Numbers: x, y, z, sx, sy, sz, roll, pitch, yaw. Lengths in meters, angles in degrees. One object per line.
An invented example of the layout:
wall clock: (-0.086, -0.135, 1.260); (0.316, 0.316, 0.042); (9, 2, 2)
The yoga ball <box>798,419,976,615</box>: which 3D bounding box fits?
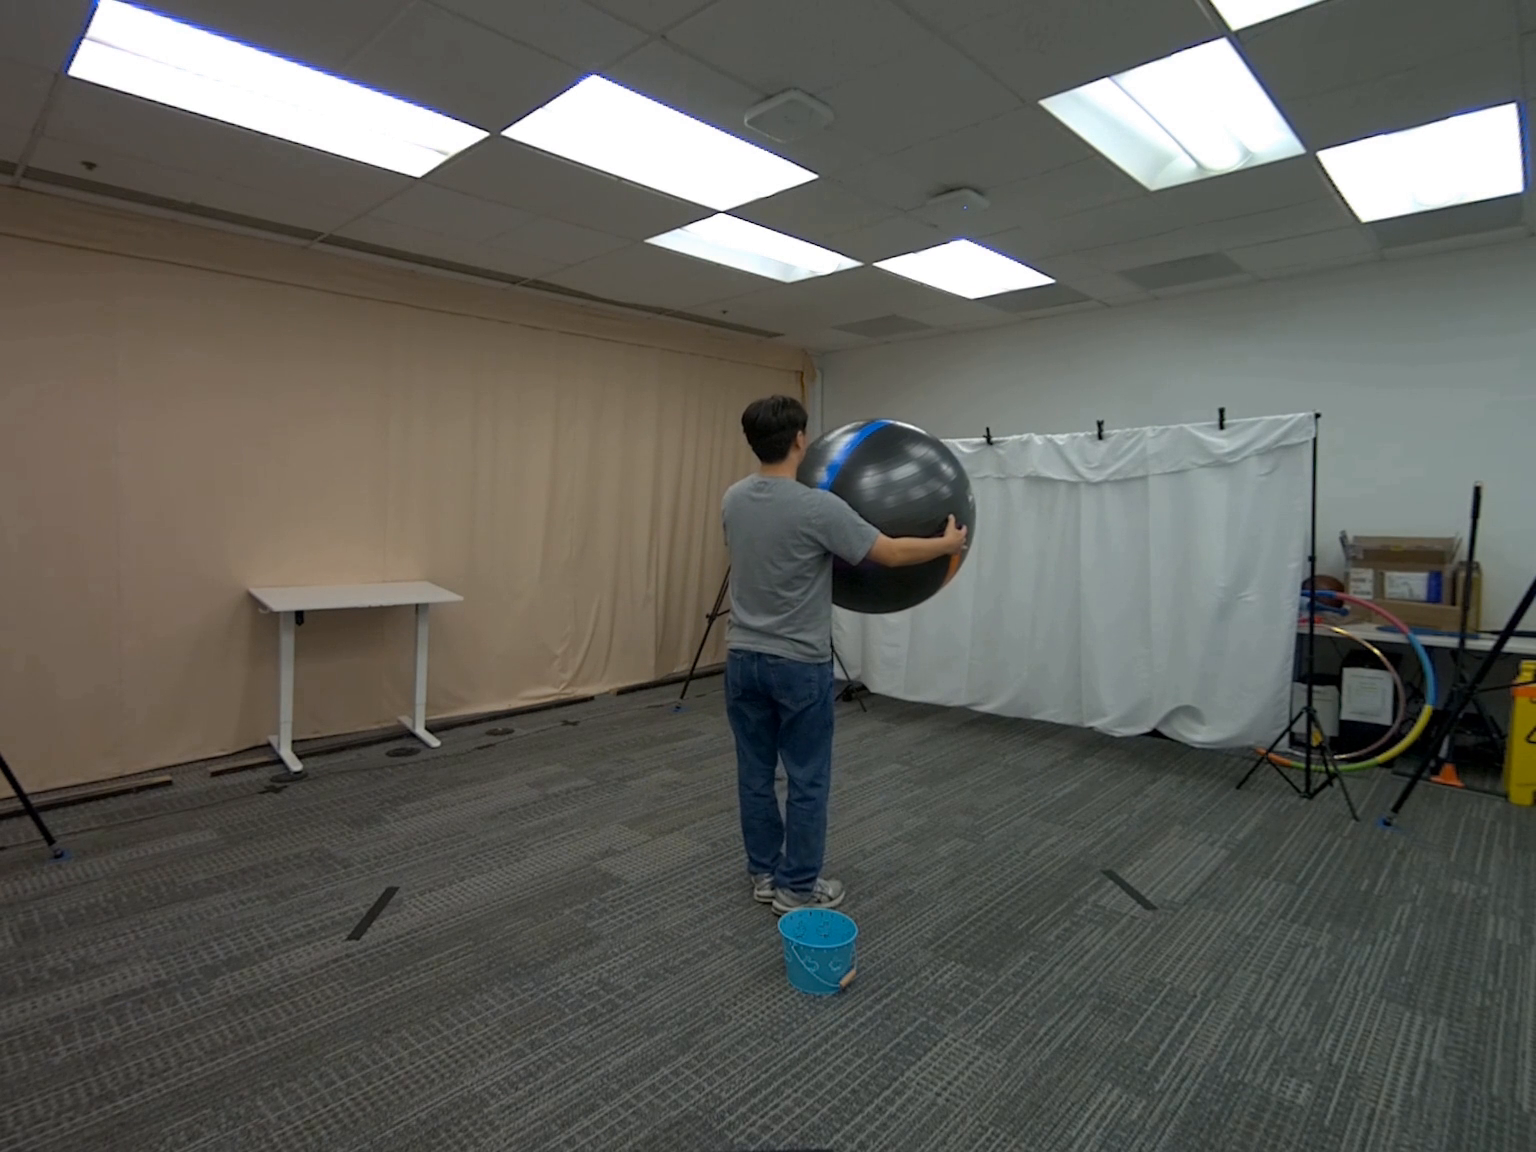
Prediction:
yoga ball: (0.430, -0.224, 3.307); (0.757, 0.756, 0.761); (0, 4, -2)
